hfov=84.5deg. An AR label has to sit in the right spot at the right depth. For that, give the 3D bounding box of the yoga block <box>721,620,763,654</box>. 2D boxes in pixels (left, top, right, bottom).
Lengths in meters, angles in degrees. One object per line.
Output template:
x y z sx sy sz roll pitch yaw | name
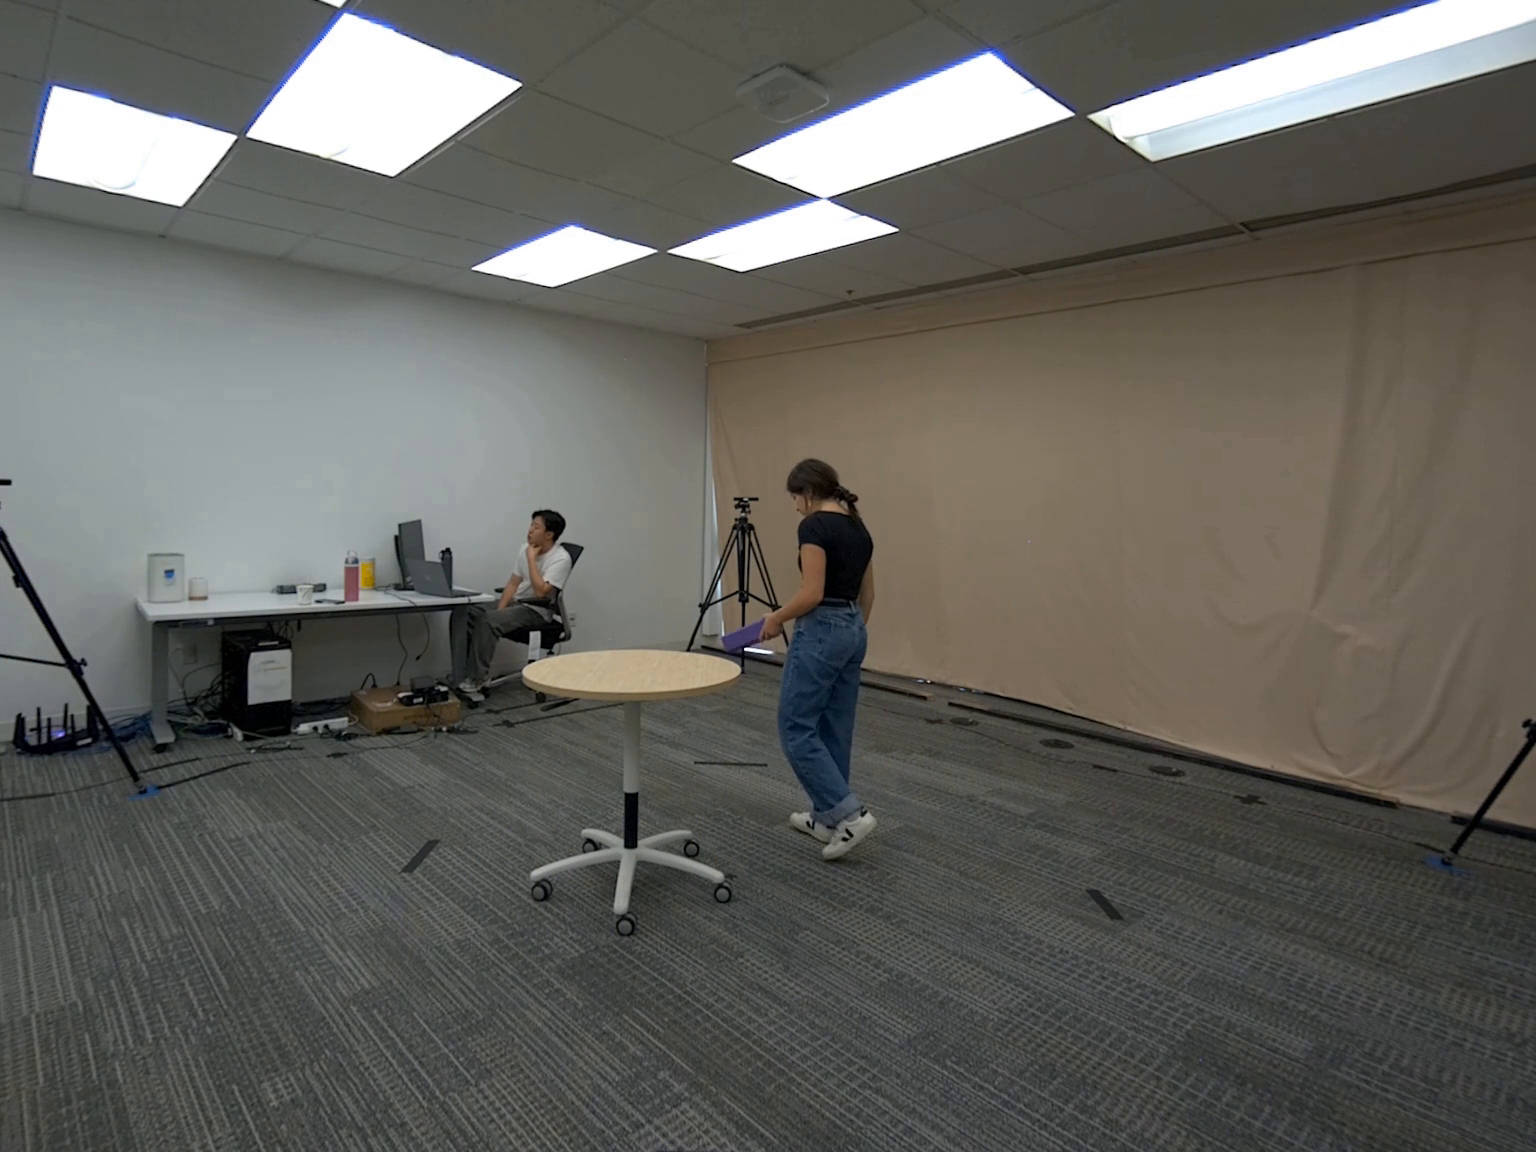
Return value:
-0.075 0.246 3.506 0.231 0.077 0.146 -22 -10 17 | yoga block
